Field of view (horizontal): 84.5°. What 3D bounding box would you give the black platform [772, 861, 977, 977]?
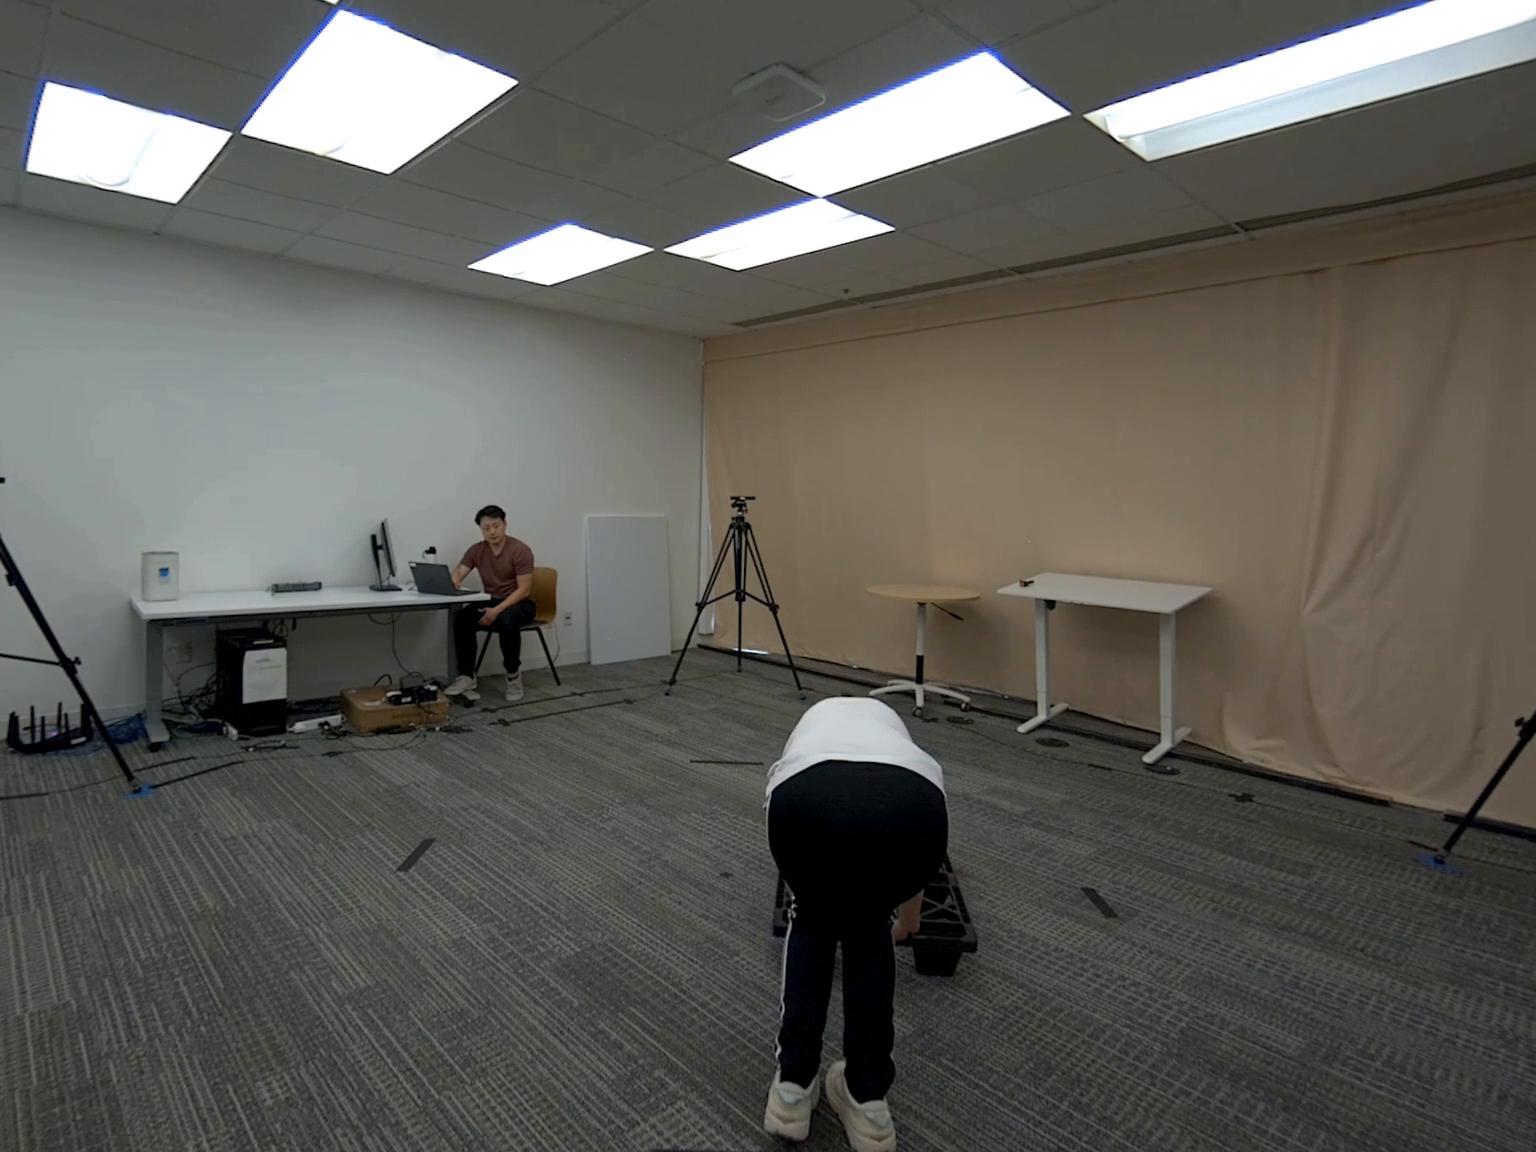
[{"bbox_3d":[0.332,1.074,2.856,0.608,0.143,0.805,3,6,4],"label":"black platform"}]
